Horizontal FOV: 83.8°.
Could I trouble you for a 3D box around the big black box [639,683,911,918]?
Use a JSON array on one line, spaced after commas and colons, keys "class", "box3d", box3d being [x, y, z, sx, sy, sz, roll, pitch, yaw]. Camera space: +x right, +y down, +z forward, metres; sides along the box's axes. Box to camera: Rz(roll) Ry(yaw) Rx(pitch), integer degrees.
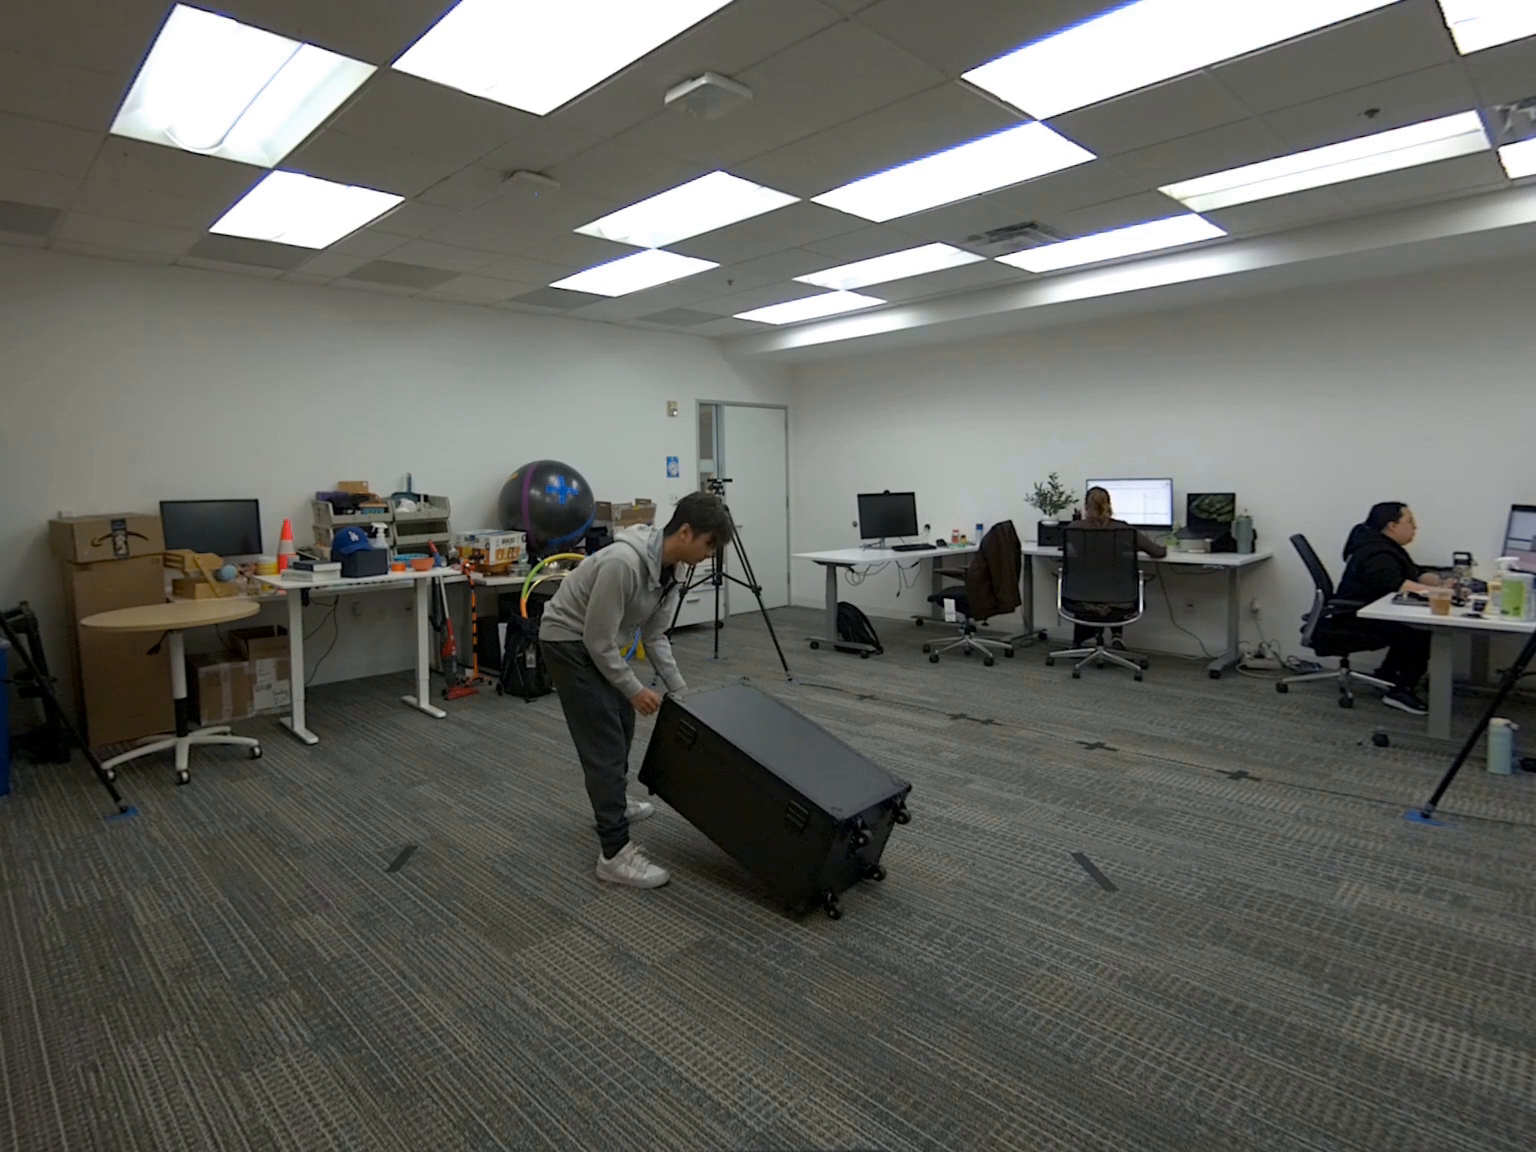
[{"class": "big black box", "box3d": [0.038, 0.760, 3.008, 0.893, 0.393, 0.507, 28, 18, 34]}]
